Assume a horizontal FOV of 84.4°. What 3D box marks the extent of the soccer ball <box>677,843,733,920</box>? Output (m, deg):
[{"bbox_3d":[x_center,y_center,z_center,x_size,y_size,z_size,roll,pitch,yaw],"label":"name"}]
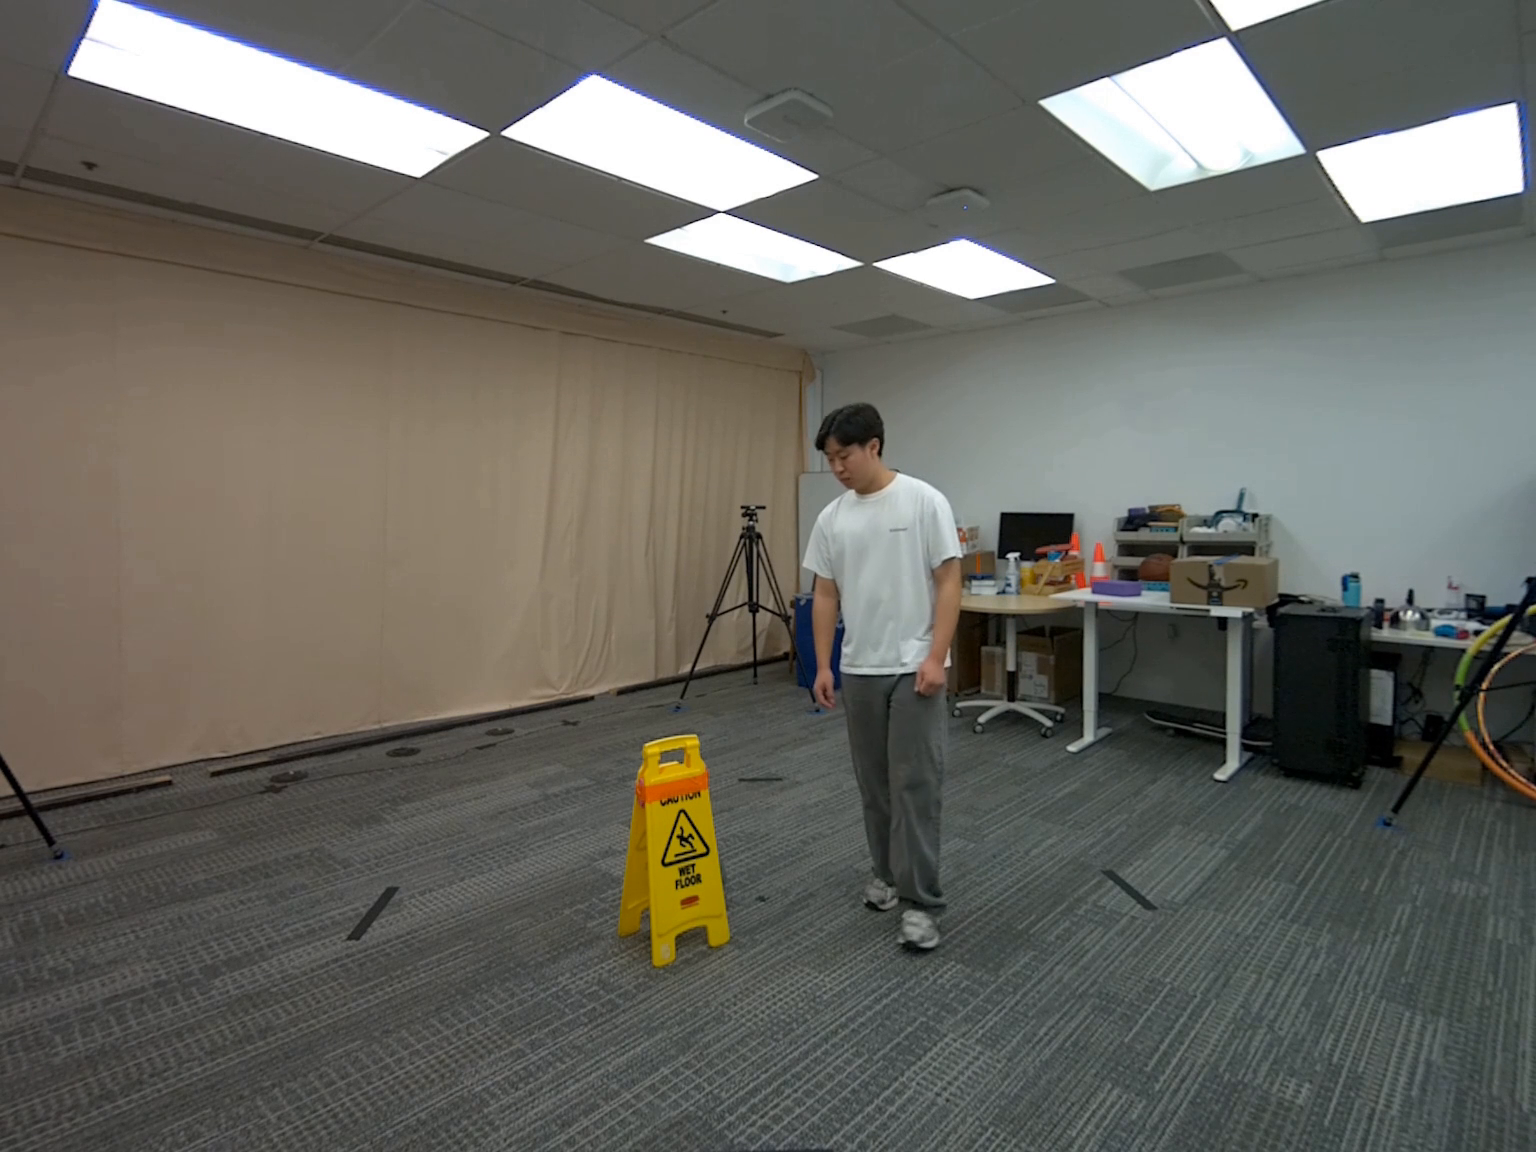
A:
[{"bbox_3d":[-0.221,1.062,2.960,0.187,0.187,0.188,0,4,-2],"label":"soccer ball"}]
